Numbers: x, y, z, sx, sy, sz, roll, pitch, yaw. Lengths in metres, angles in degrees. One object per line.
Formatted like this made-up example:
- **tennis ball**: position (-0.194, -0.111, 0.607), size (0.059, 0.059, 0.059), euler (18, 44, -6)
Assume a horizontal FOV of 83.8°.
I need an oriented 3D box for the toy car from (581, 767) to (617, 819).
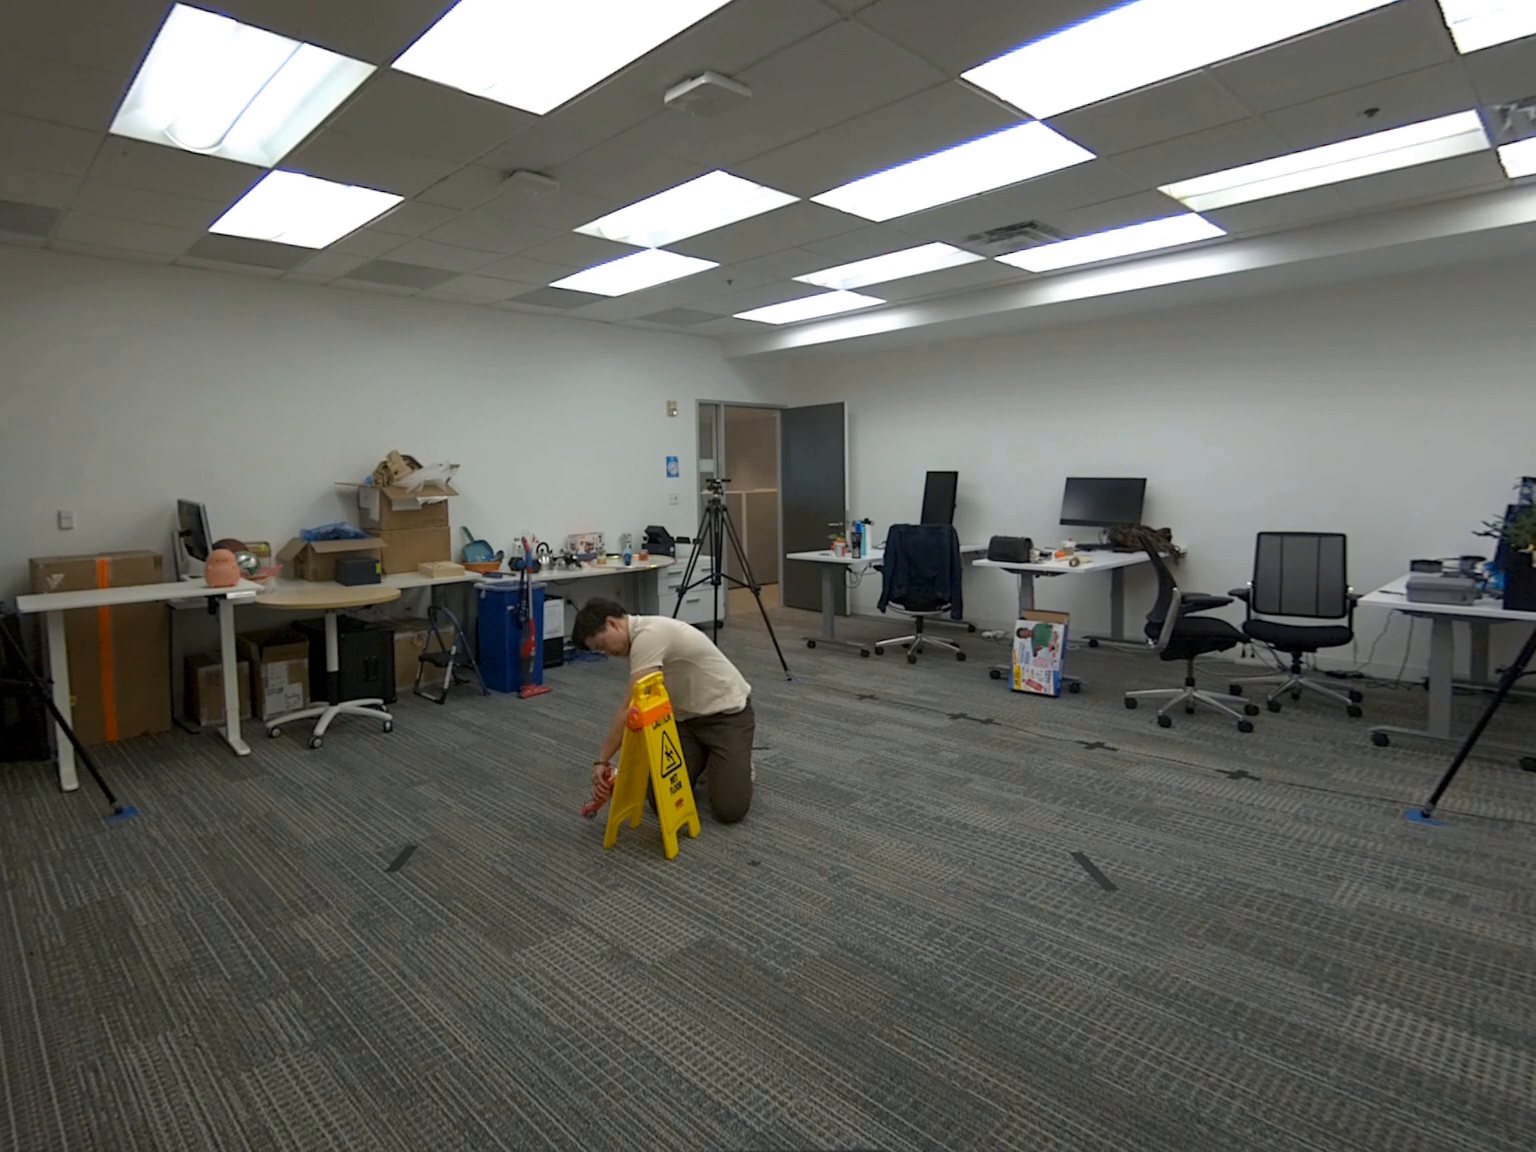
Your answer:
- **toy car**: position (-0.639, 0.846, 3.380), size (0.082, 0.254, 0.132), euler (35, 6, -12)
